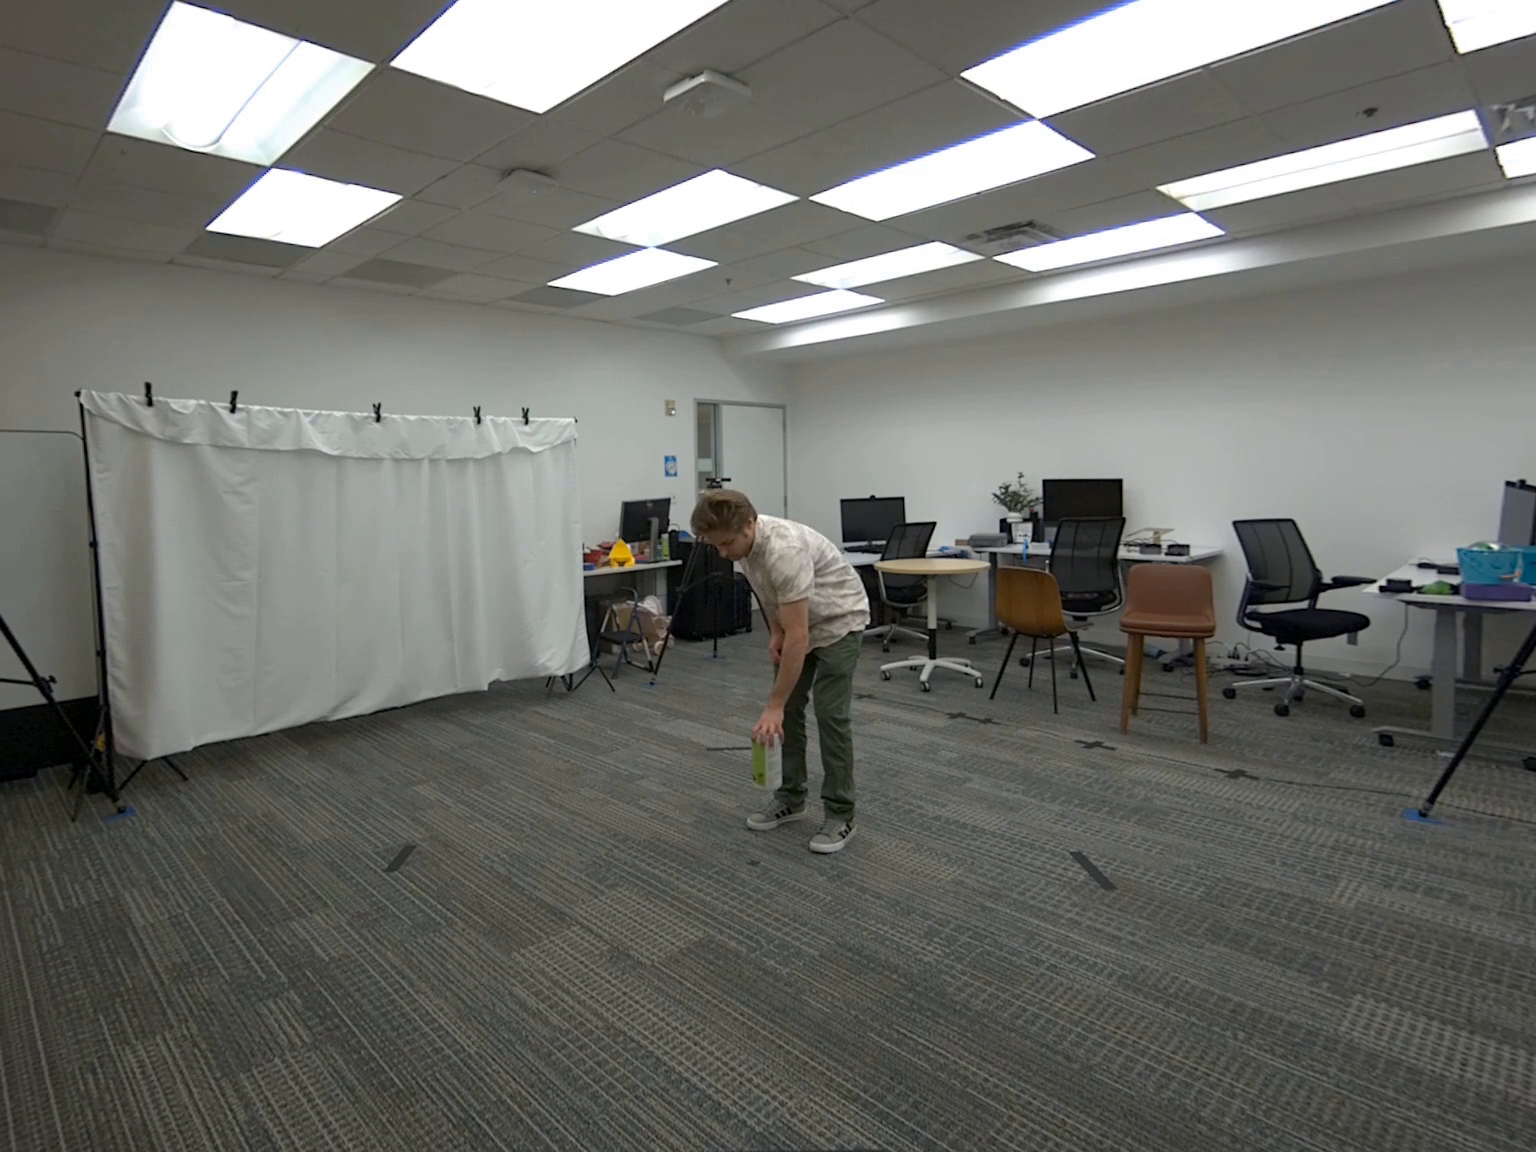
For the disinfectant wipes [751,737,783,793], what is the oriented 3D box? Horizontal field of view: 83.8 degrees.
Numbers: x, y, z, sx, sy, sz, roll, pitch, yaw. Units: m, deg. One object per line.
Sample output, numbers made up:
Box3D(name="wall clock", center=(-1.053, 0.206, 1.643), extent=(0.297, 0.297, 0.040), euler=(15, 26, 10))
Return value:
Box3D(name="disinfectant wipes", center=(-0.001, 0.671, 3.146), extent=(0.118, 0.215, 0.119), euler=(-2, 11, -1))
